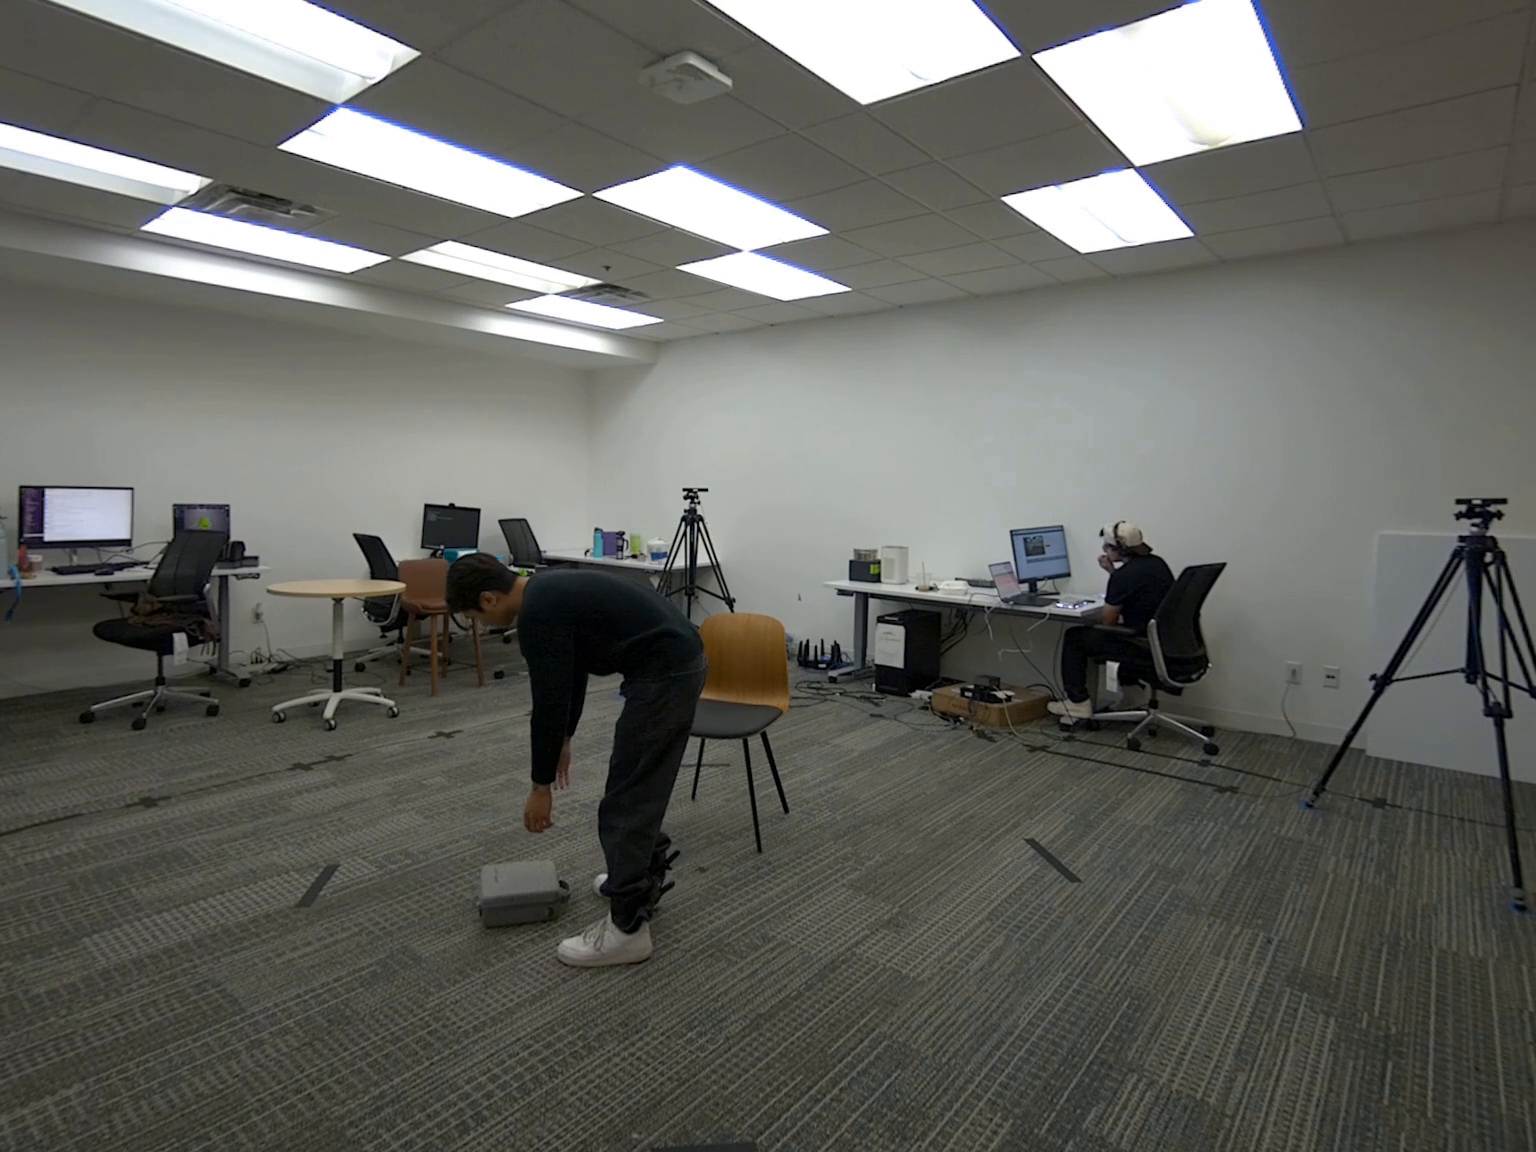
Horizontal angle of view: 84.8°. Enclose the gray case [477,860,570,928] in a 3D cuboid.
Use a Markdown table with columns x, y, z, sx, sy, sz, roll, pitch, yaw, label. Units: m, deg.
| x | y | z | sx | sy | sz | roll | pitch | yaw | label |
| --- | --- | --- | --- | --- | --- | --- | --- | --- | --- |
| -0.828 | 1.035 | 2.809 | 0.256 | 0.104 | 0.262 | -1 | 5 | -18 | gray case |
